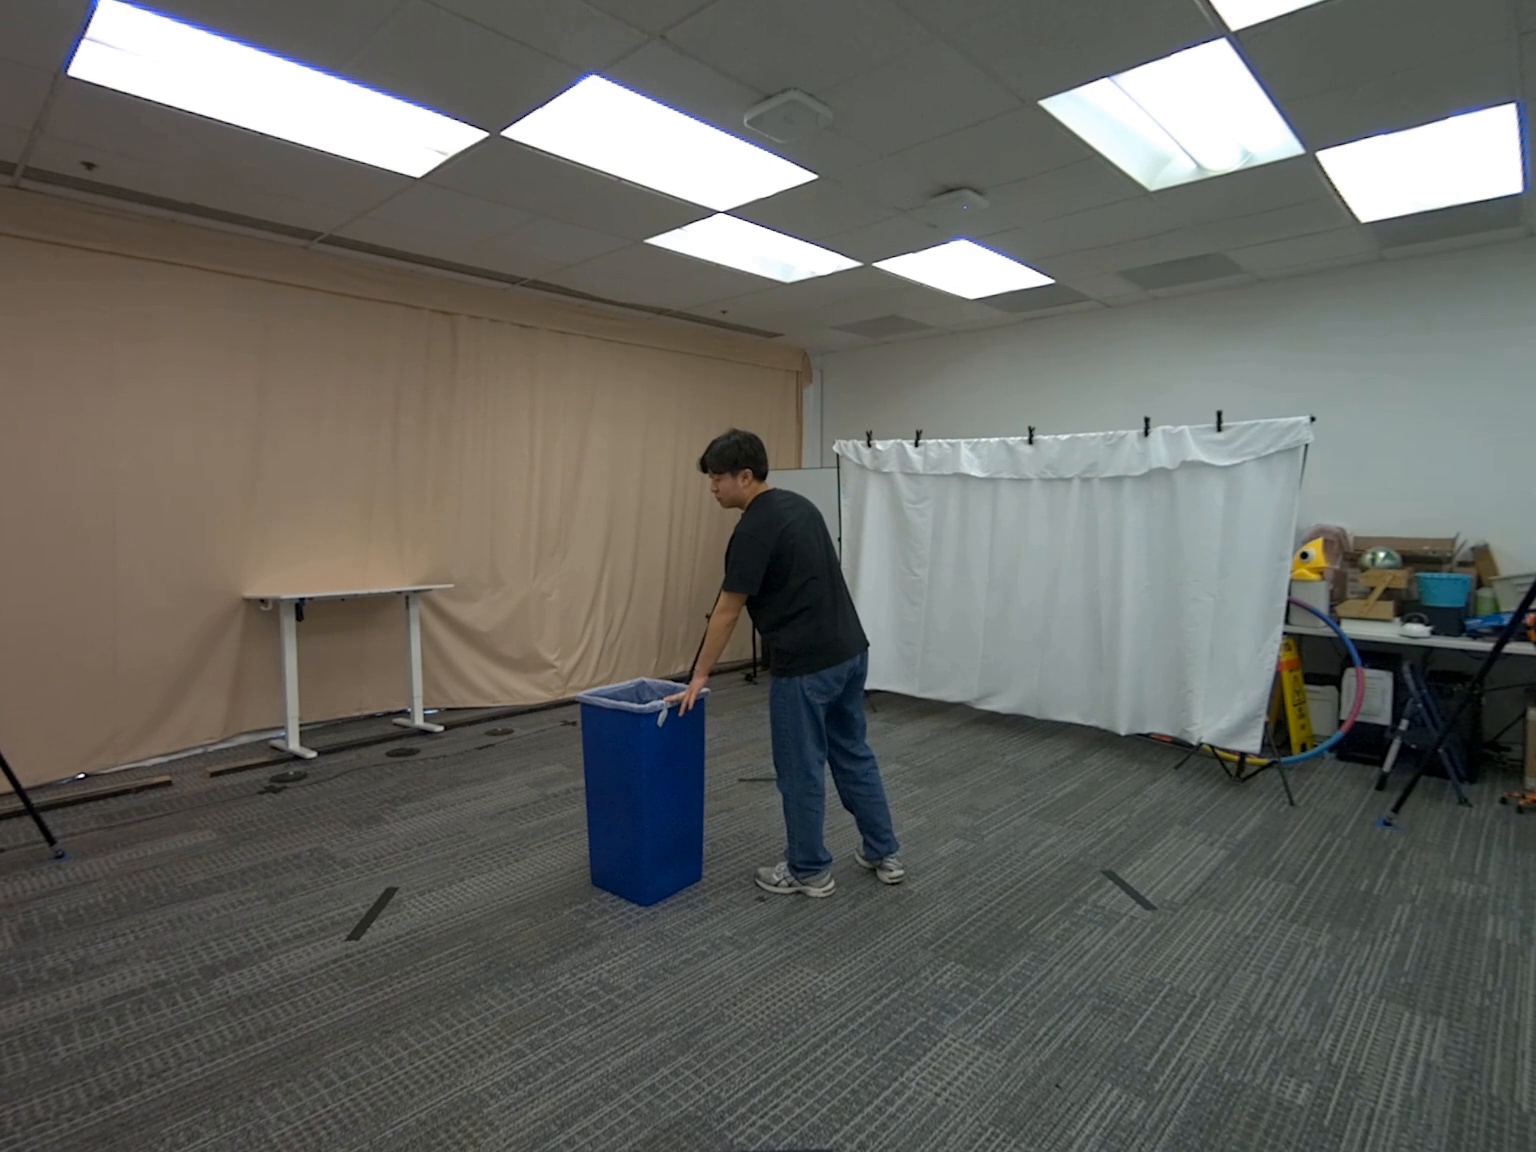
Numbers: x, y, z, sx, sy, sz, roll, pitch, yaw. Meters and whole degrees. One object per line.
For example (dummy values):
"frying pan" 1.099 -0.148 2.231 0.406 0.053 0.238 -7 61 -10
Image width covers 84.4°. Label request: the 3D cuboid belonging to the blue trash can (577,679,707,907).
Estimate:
"blue trash can" -0.463 0.782 3.119 0.386 0.712 0.366 2 3 38
